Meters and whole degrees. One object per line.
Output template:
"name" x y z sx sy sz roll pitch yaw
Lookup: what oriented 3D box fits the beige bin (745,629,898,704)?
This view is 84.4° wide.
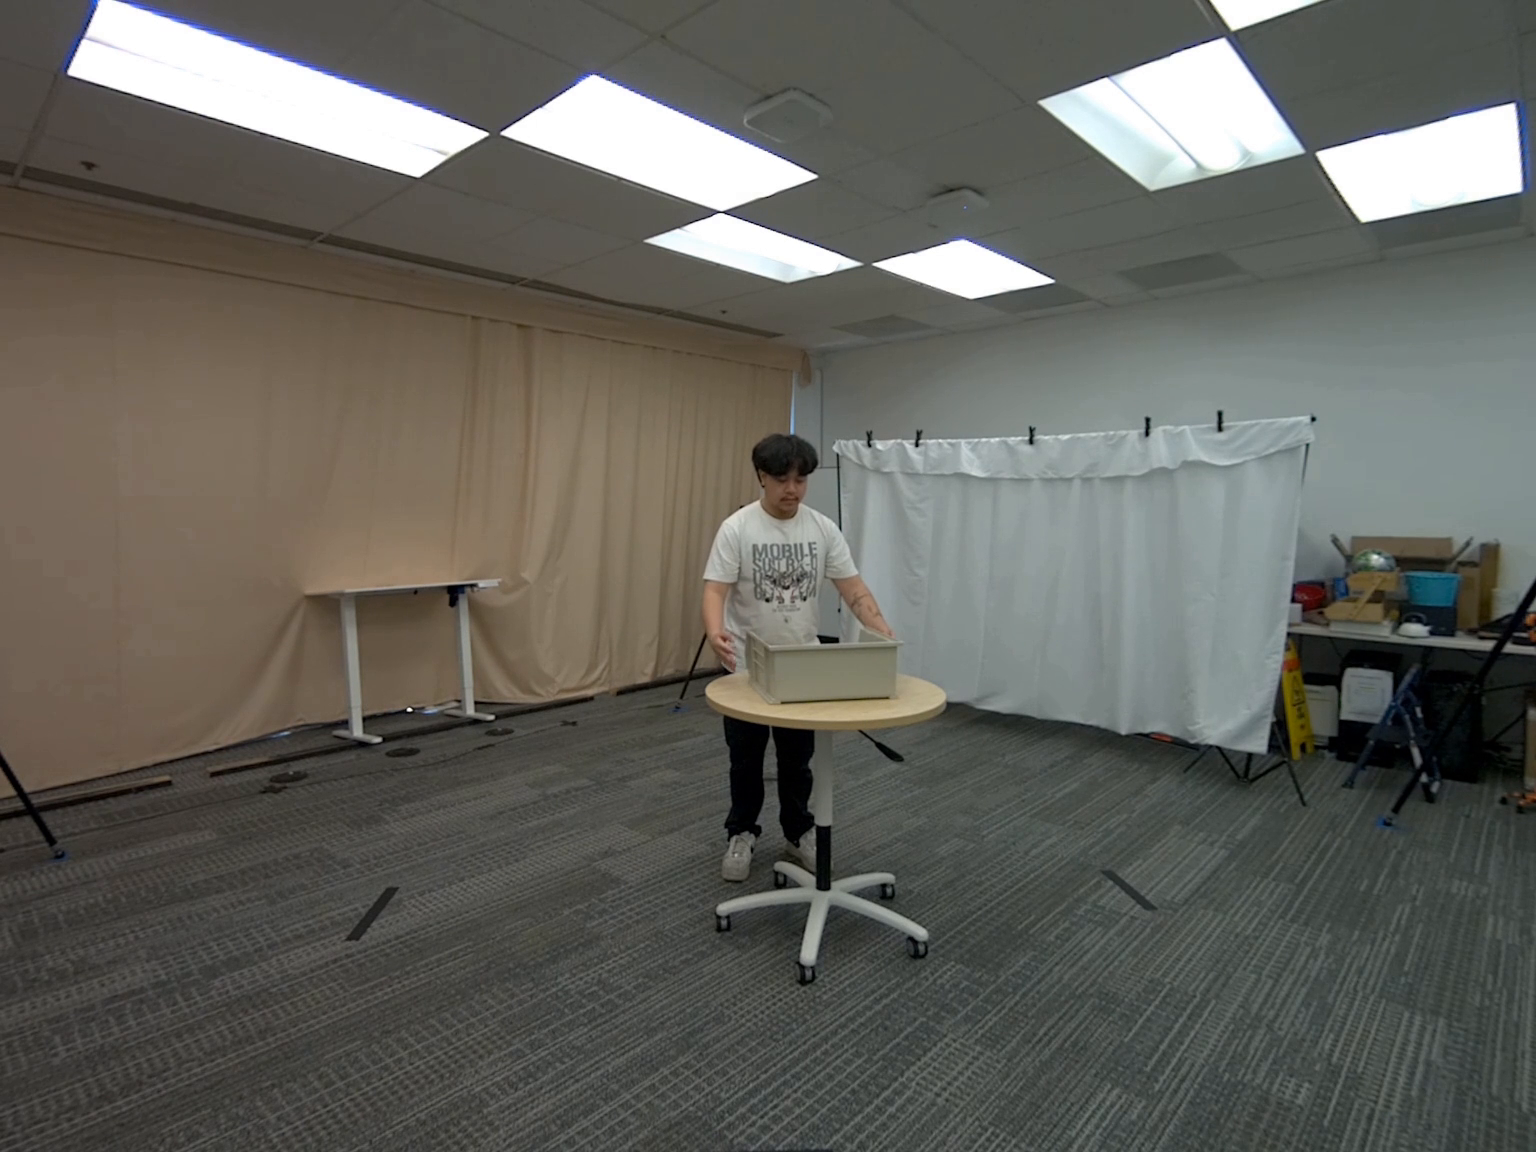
"beige bin" 0.169 0.280 2.724 0.417 0.188 0.383 -1 6 -12
